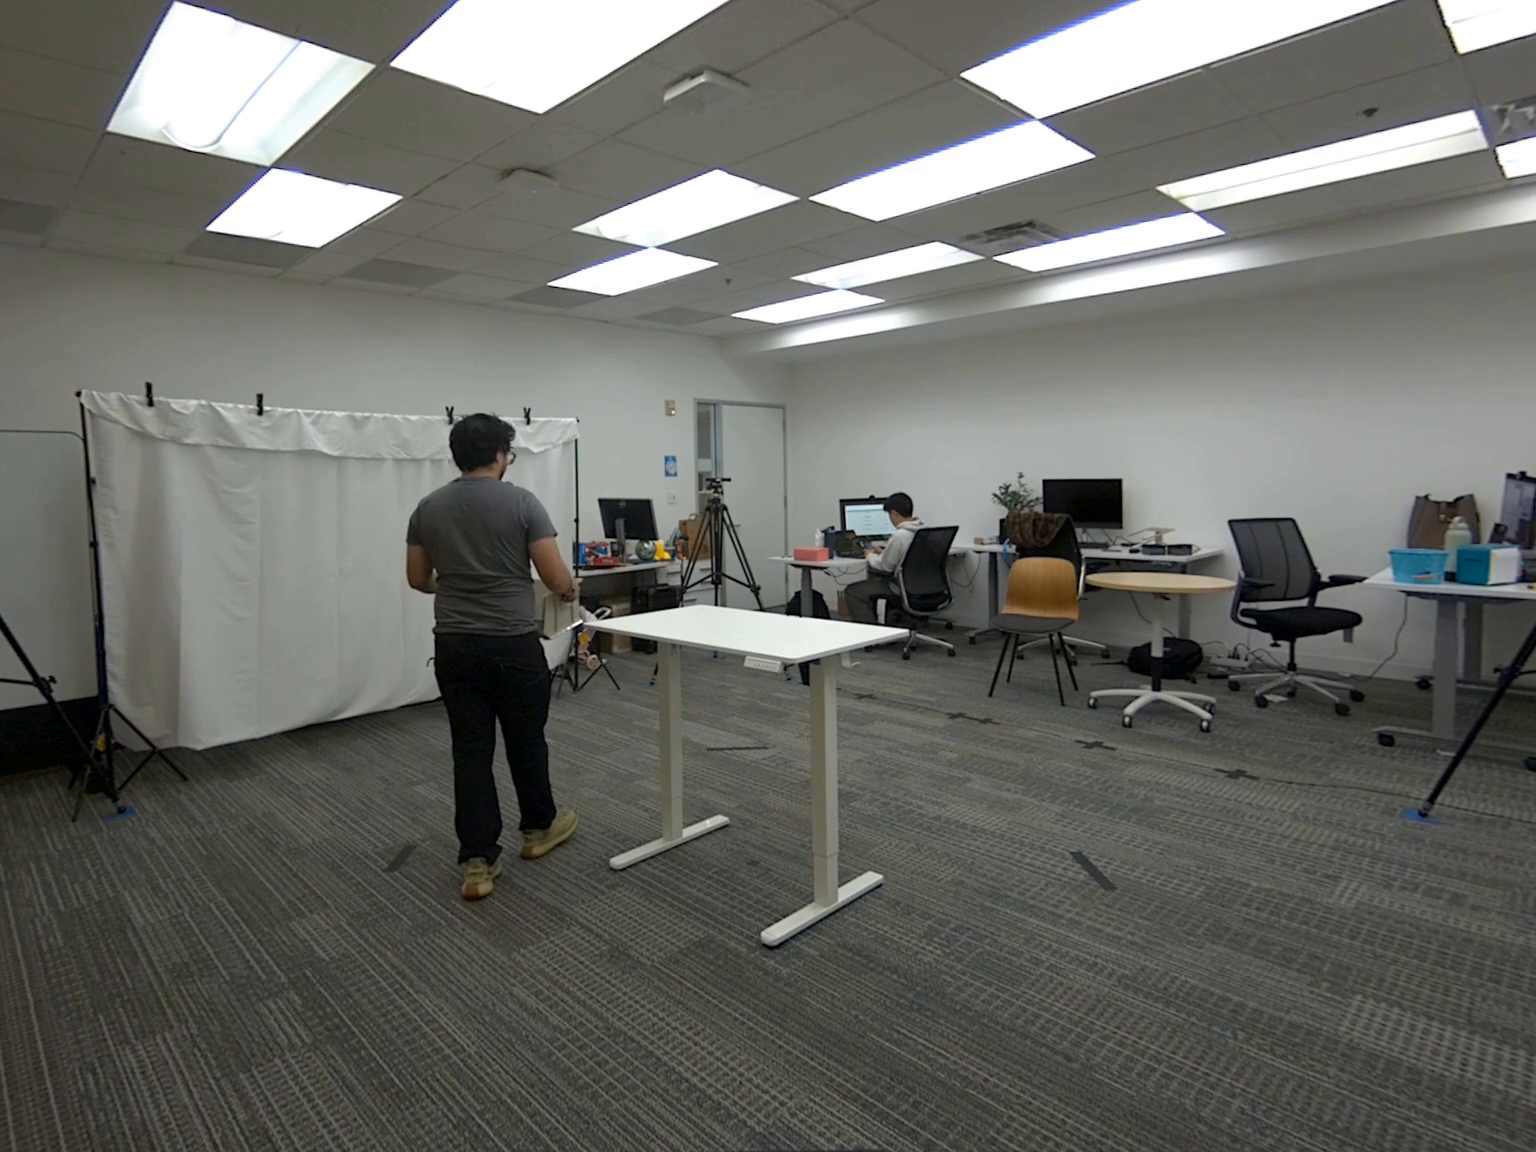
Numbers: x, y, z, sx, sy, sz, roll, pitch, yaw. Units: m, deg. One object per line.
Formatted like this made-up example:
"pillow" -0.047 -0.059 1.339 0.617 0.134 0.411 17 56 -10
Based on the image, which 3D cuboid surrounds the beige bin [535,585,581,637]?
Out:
"beige bin" -0.991 0.124 3.347 0.427 0.188 0.375 -2 6 12
